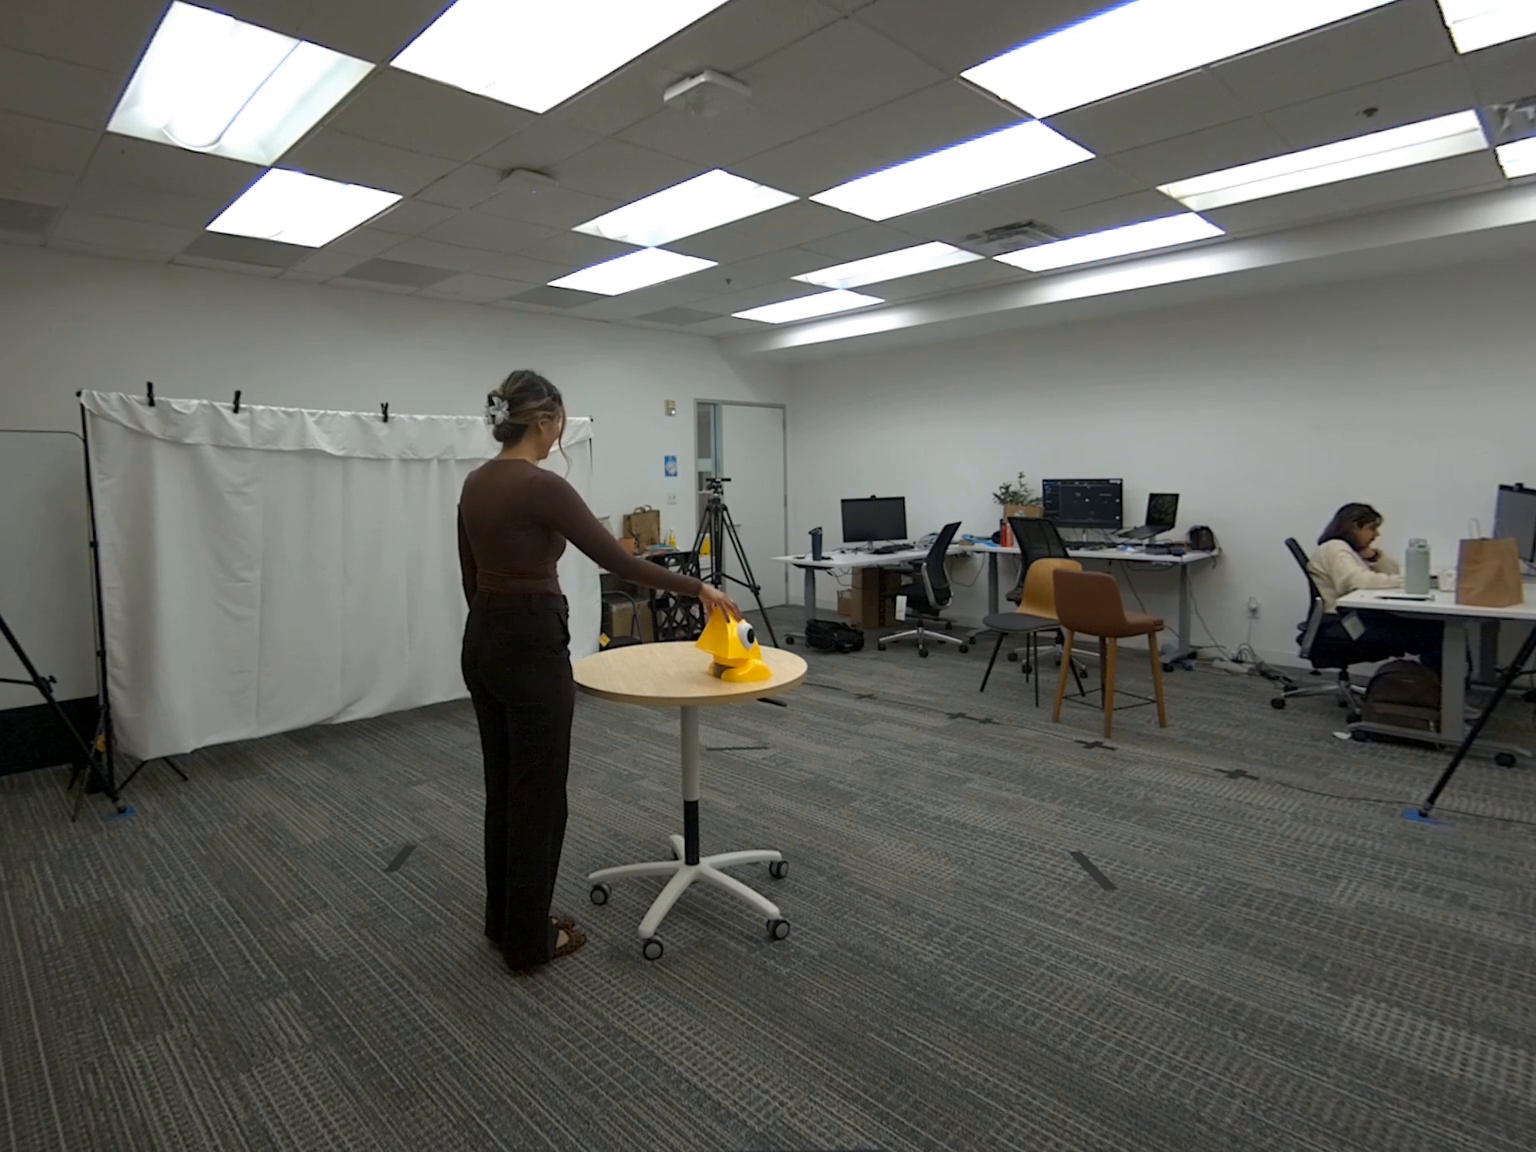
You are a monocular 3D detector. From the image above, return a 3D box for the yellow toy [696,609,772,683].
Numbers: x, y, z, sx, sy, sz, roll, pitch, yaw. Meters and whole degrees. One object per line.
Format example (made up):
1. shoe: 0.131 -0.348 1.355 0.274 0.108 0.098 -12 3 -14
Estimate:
1. yellow toy: -0.098 0.190 2.619 0.188 0.229 0.211 -4 7 -32
